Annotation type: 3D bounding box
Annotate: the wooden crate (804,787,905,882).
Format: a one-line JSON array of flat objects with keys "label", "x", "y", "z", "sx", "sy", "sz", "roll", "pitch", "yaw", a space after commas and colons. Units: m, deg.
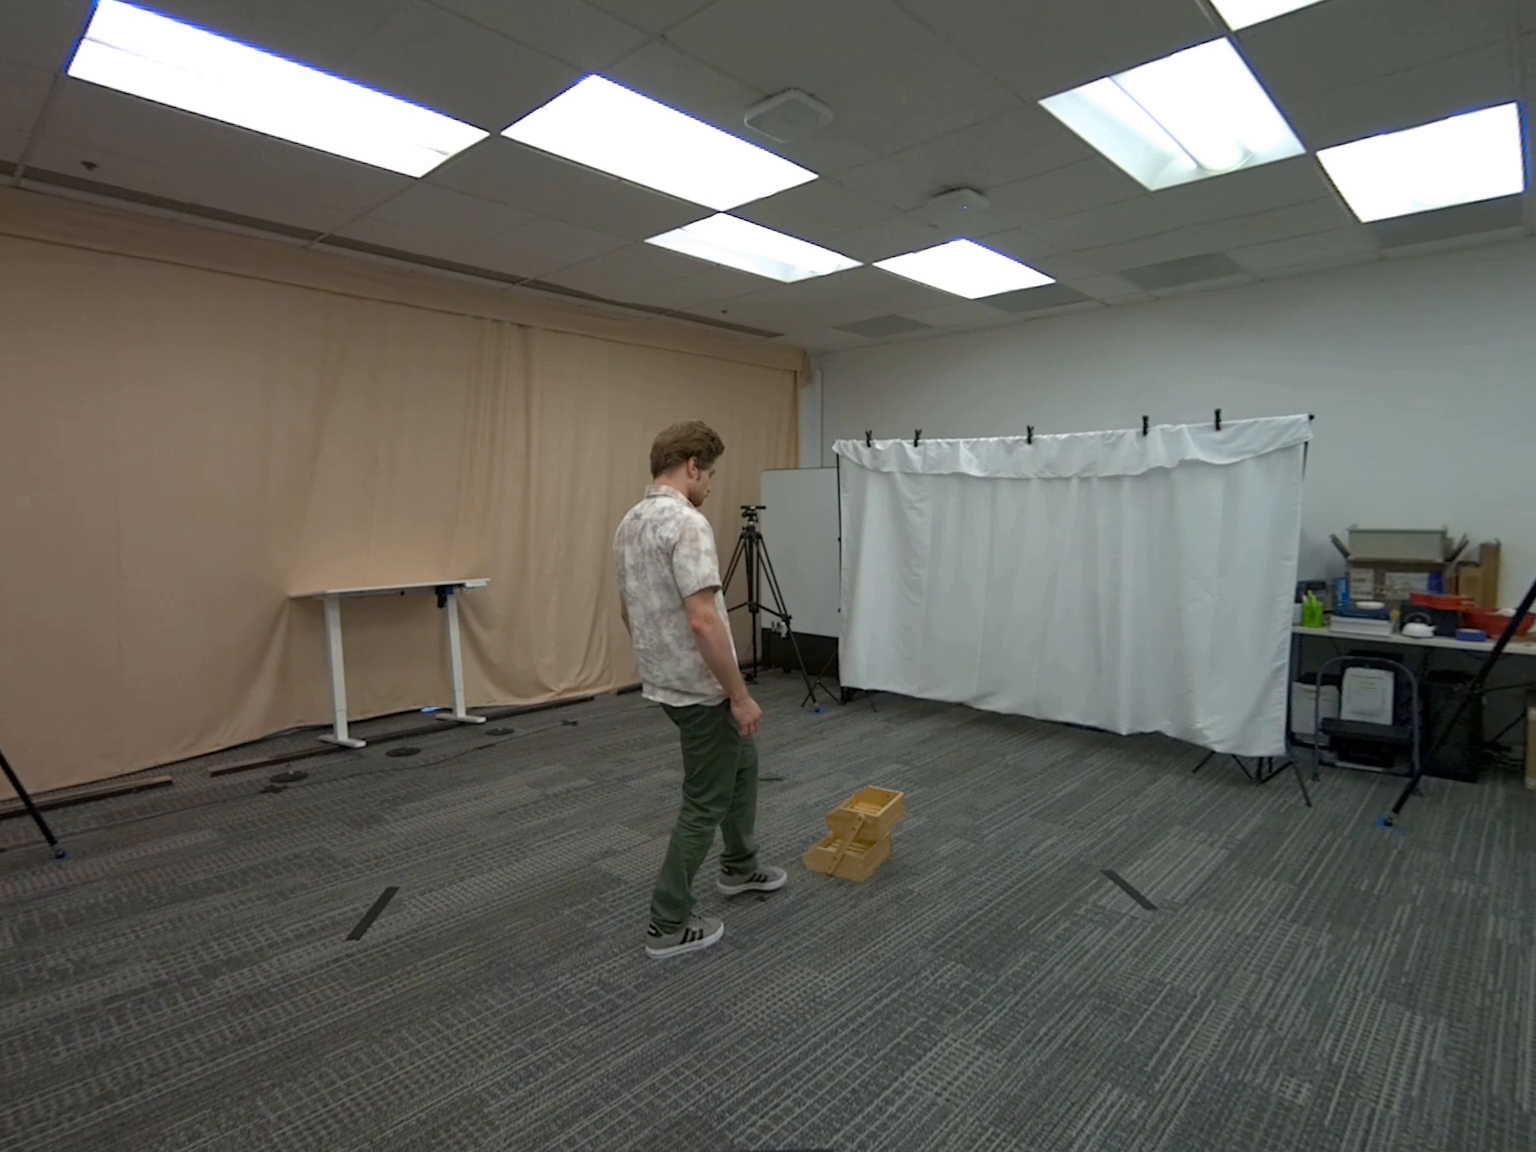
[{"label": "wooden crate", "x": 0.338, "y": 0.984, "z": 3.279, "sx": 0.311, "sy": 0.272, "sz": 0.316, "roll": 4, "pitch": 5, "yaw": 29}]
